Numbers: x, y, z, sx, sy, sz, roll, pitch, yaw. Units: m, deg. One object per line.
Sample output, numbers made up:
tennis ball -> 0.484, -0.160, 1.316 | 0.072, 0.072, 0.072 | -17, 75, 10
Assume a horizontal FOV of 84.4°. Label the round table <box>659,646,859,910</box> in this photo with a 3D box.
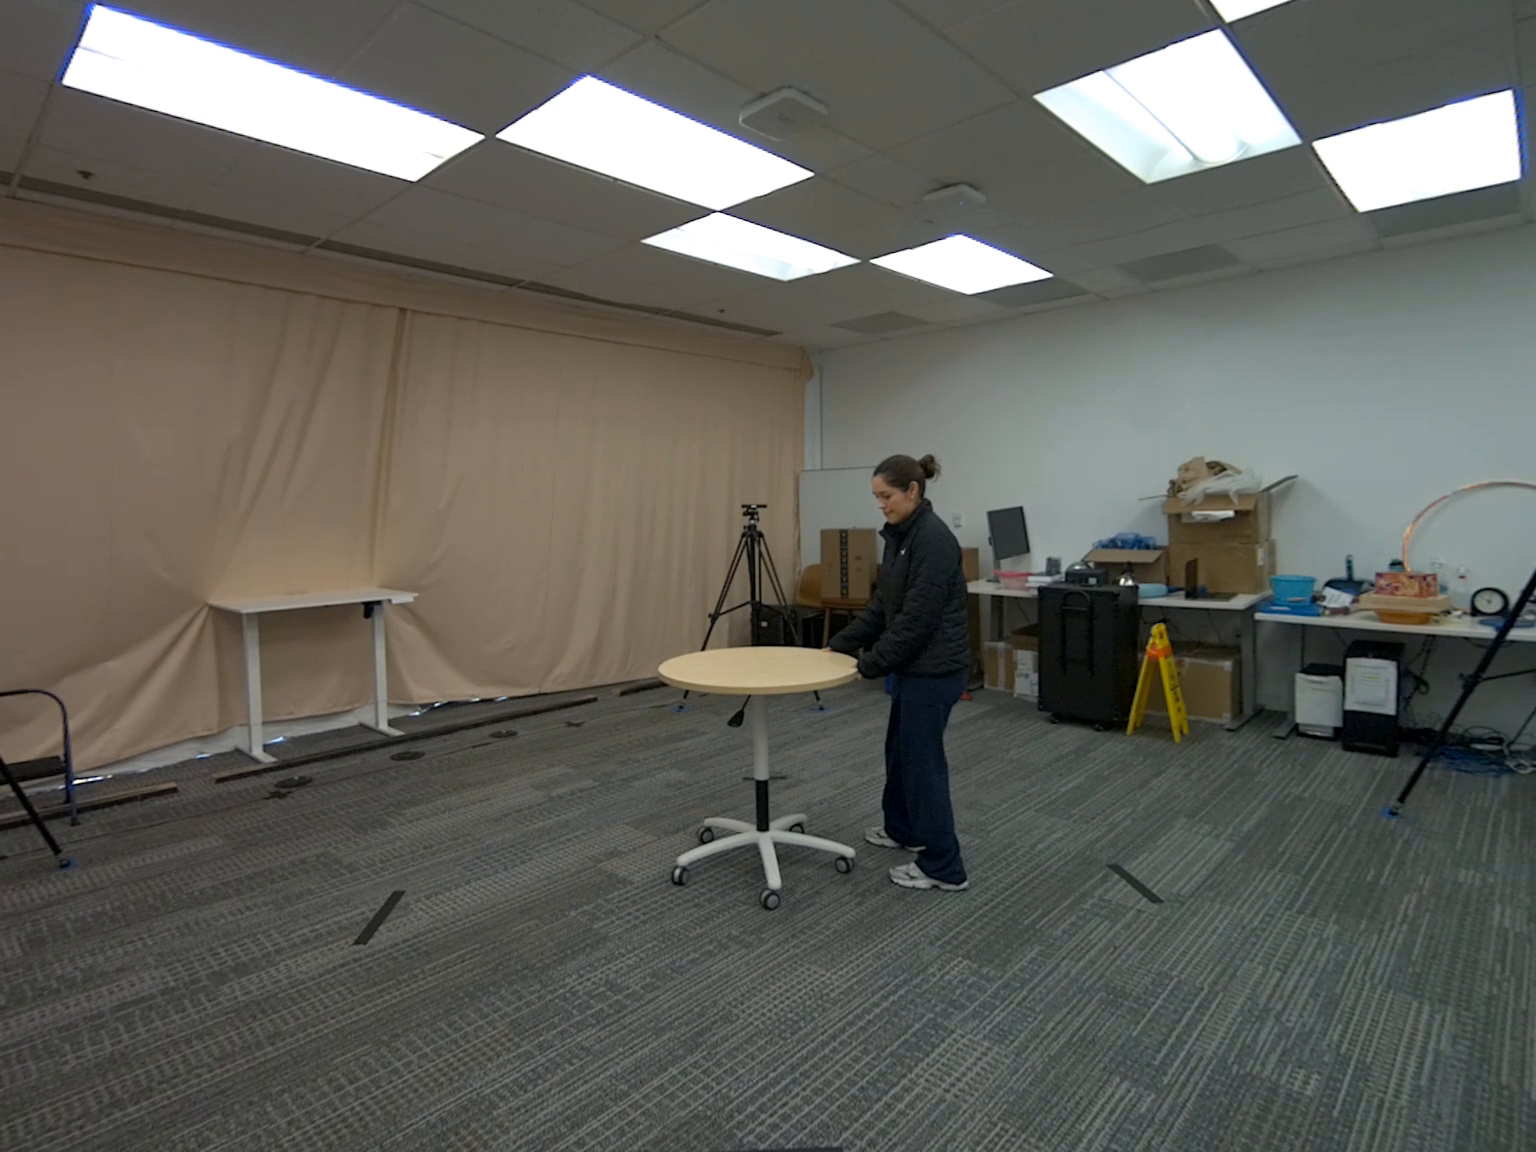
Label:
round table -> -0.006, 0.729, 3.221 | 0.784, 0.784, 0.788 | -2, 4, -2
